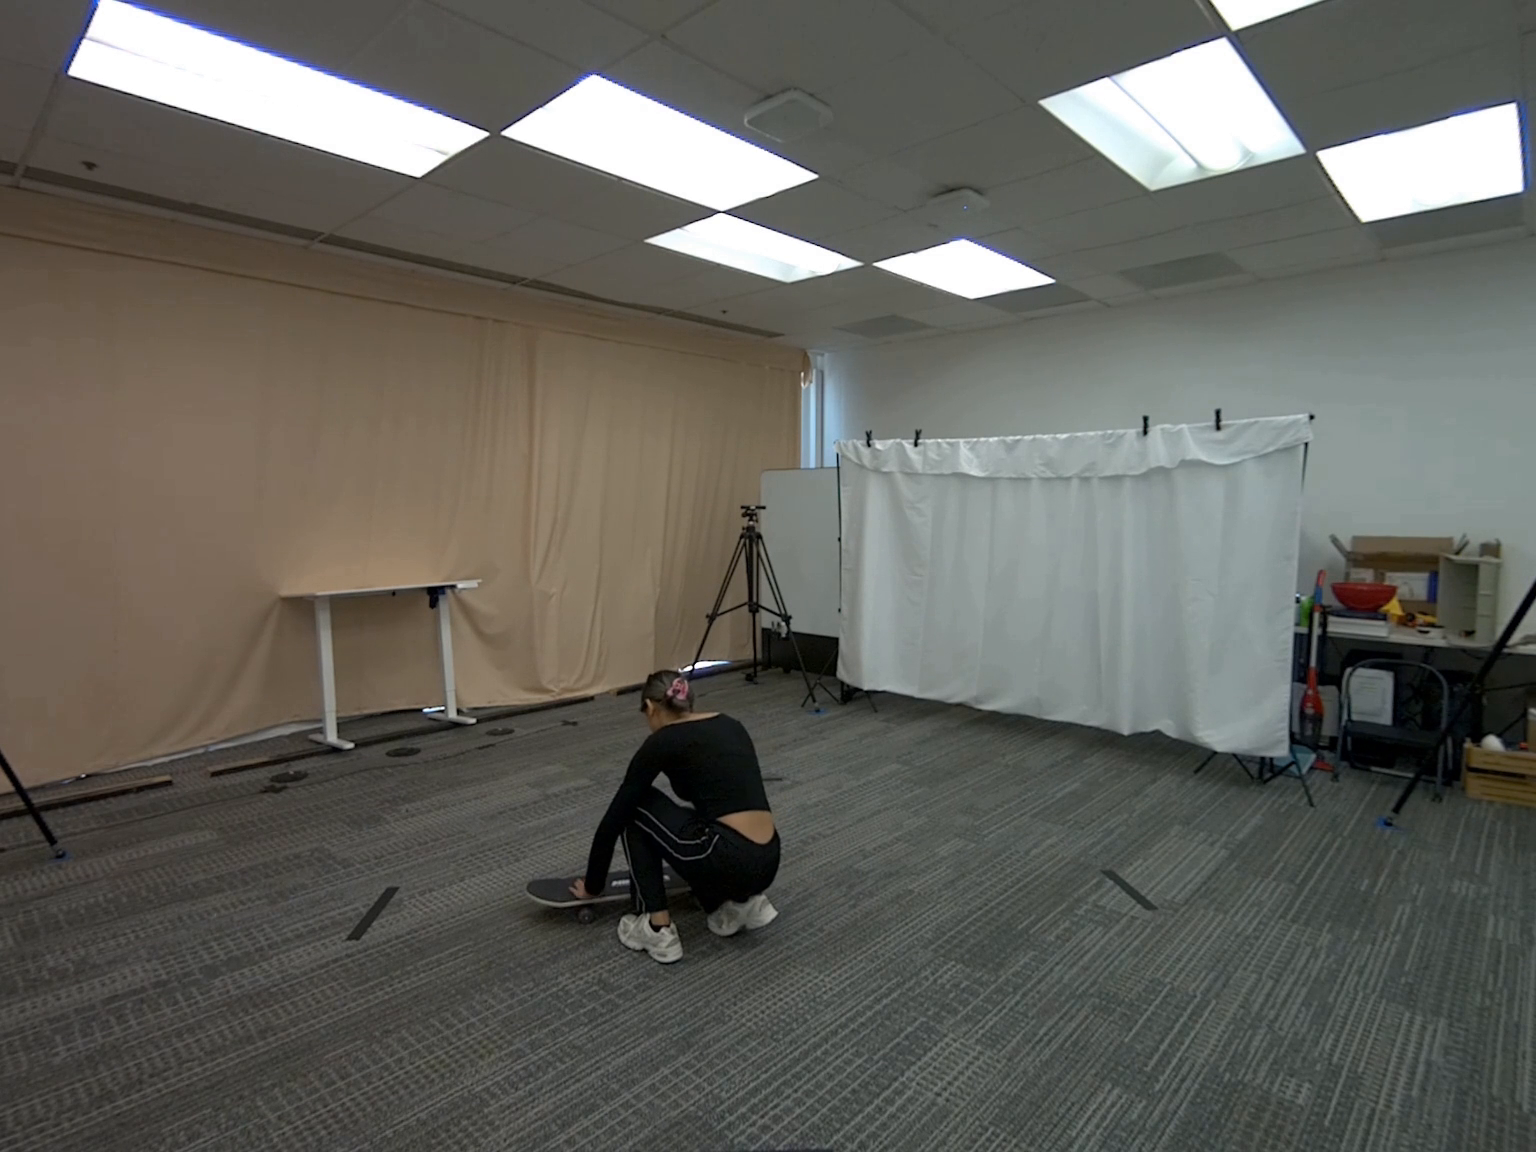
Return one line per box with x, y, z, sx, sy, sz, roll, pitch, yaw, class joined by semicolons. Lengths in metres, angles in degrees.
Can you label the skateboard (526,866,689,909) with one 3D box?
-0.443;1.094;2.937;0.773;0.110;0.197;-1;4;-15;skateboard
